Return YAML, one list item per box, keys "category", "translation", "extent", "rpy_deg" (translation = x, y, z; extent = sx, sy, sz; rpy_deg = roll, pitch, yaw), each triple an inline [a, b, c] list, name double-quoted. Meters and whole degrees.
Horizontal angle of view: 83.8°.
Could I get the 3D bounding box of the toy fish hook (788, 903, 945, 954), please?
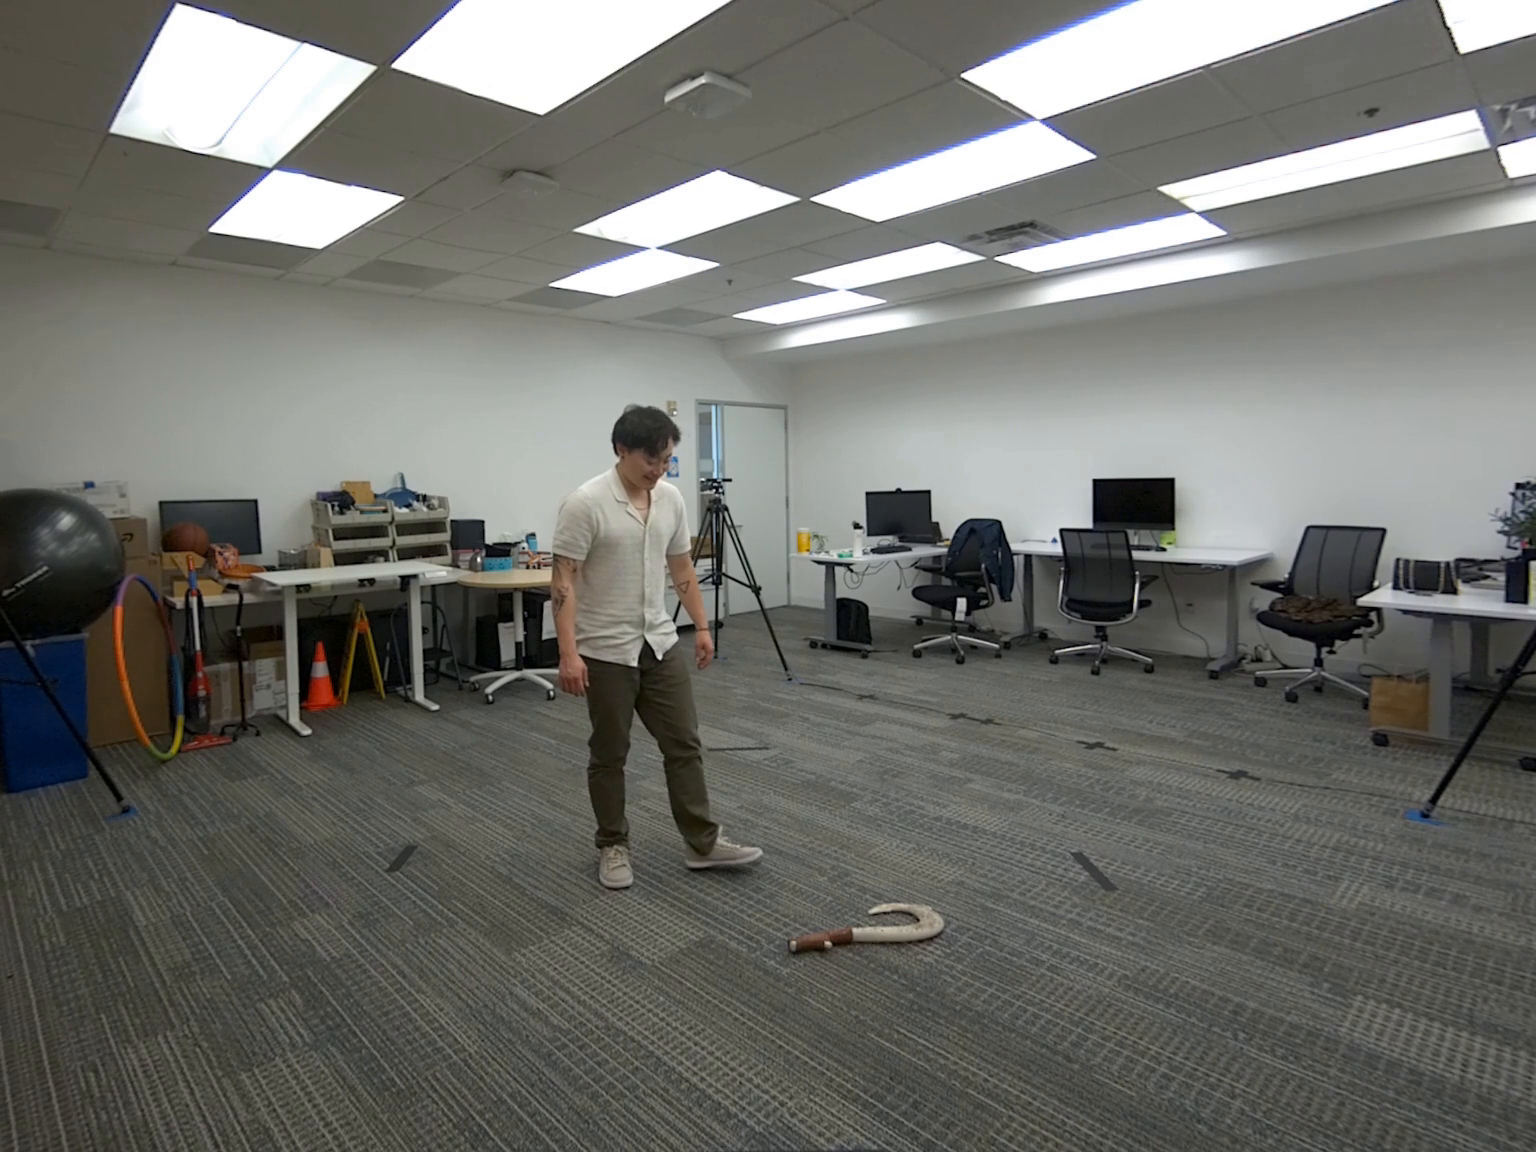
- category: "toy fish hook"
  translation: [0.295, 1.078, 2.624]
  extent: [0.500, 0.048, 0.227]
  rpy_deg: [-2, -1, -14]
